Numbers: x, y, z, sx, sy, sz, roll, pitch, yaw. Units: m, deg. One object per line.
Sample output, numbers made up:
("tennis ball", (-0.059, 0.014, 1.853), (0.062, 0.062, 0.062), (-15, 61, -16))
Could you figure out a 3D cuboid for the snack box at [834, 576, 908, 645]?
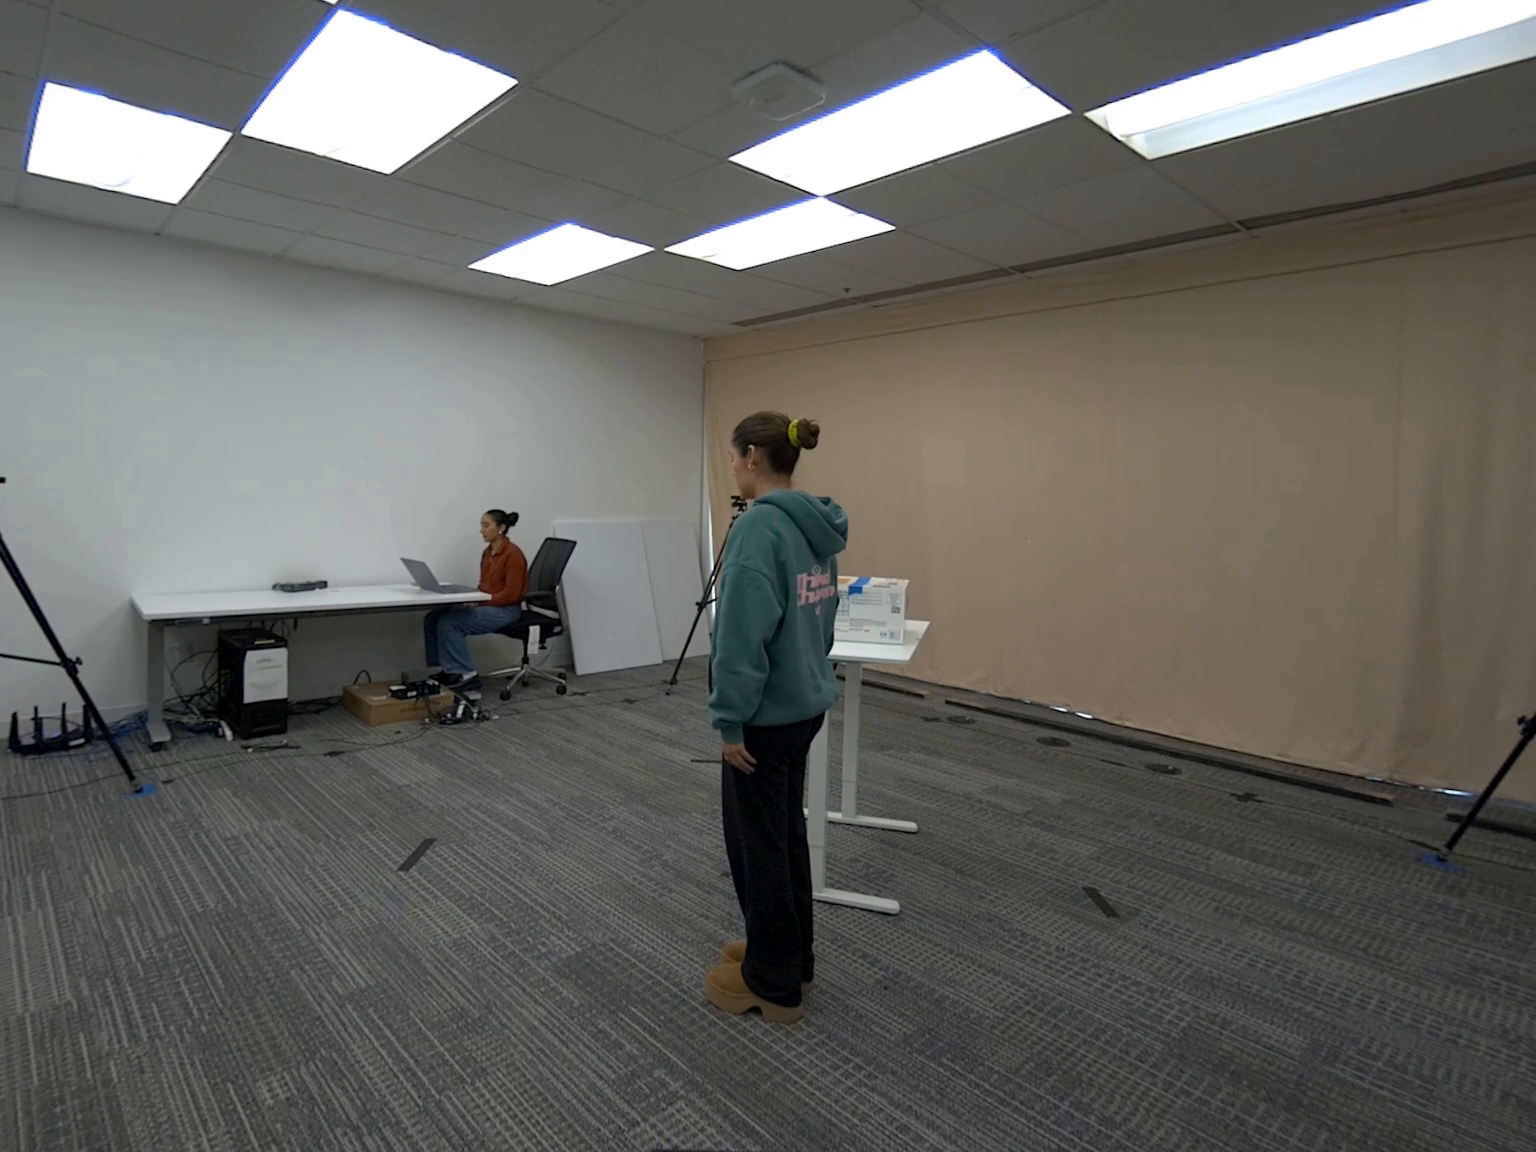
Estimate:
("snack box", (0.349, 0.122, 3.210), (0.344, 0.205, 0.402), (3, 4, 12))
